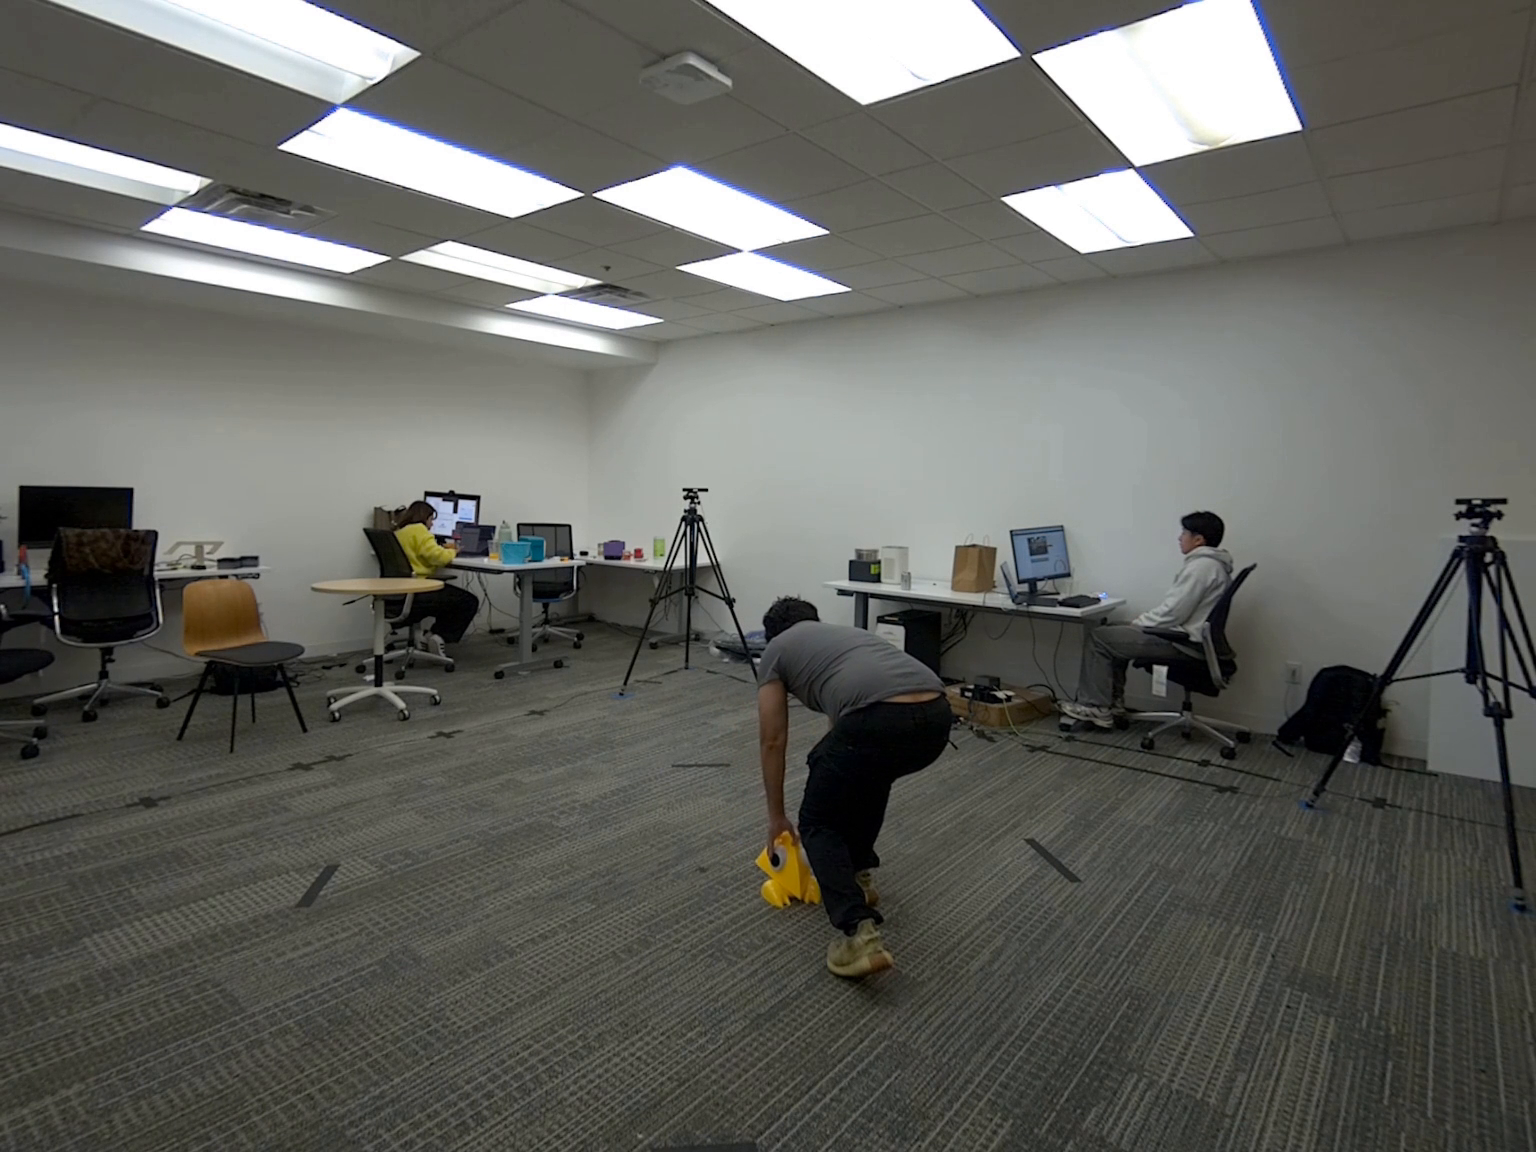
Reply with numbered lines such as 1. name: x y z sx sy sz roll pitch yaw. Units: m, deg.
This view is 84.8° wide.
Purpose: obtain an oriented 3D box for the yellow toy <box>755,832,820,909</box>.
1. yellow toy: 0.073 0.981 2.939 0.201 0.230 0.197 1 3 -16
